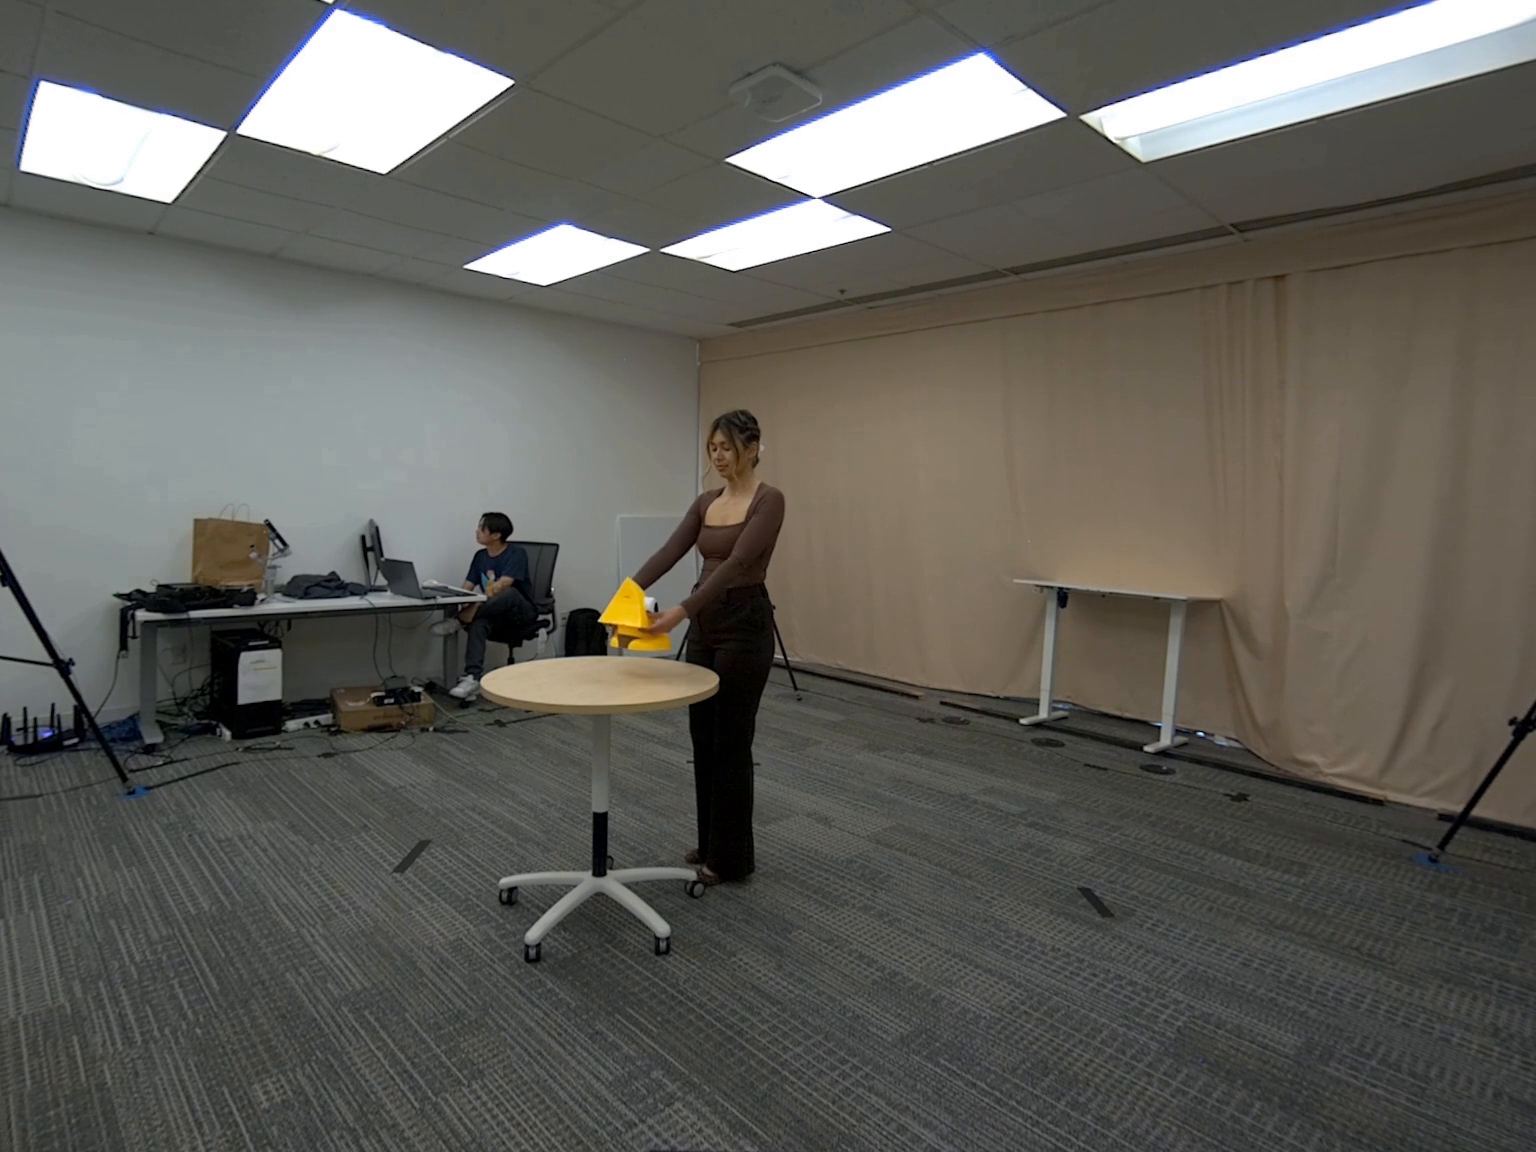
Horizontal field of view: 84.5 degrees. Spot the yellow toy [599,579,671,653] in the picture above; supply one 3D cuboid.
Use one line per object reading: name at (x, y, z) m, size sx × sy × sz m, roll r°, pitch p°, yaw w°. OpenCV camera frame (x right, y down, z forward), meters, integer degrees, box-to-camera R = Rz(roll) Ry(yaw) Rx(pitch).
yellow toy at (-0.432, 0.115, 2.781) m, size 0.210 × 0.230 × 0.188 m, roll 4°, pitch 1°, yaw 38°
